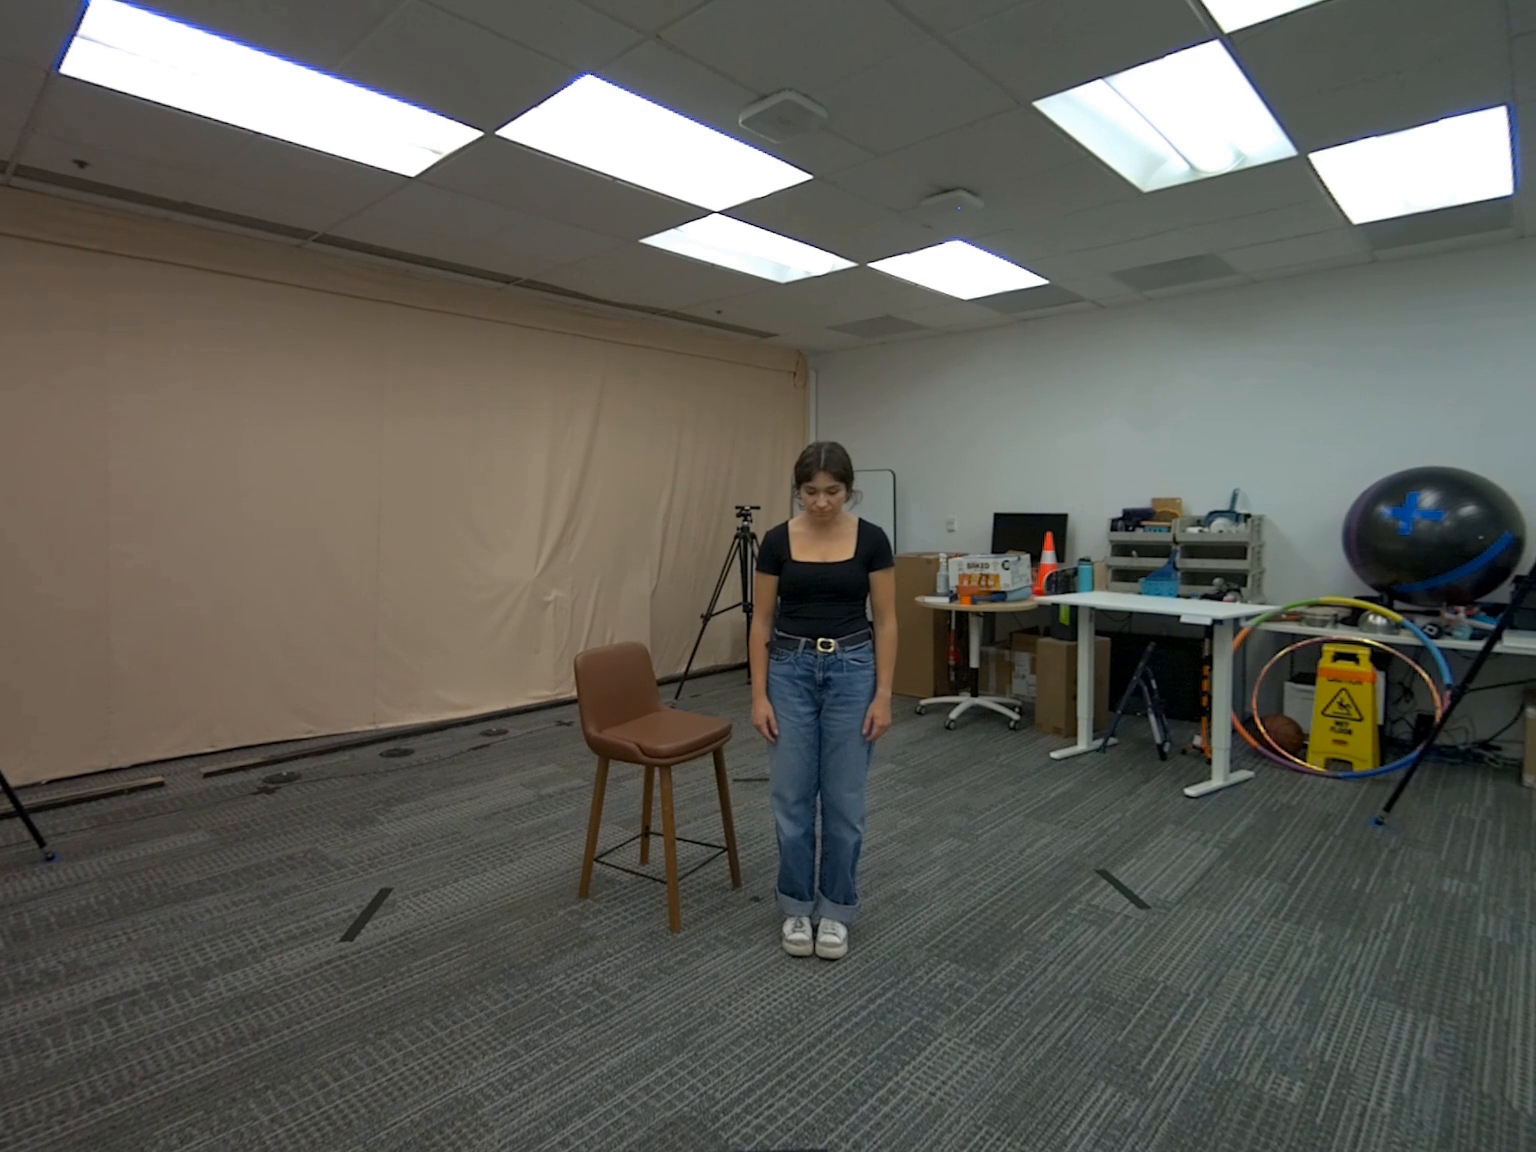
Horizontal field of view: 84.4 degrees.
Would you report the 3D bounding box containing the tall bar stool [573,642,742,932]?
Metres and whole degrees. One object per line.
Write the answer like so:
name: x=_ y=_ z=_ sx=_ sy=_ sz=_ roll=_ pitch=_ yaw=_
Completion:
tall bar stool: x=-0.398 y=0.710 z=3.018 sx=0.481 sy=0.888 sz=0.444 roll=0 pitch=3 yaw=33
